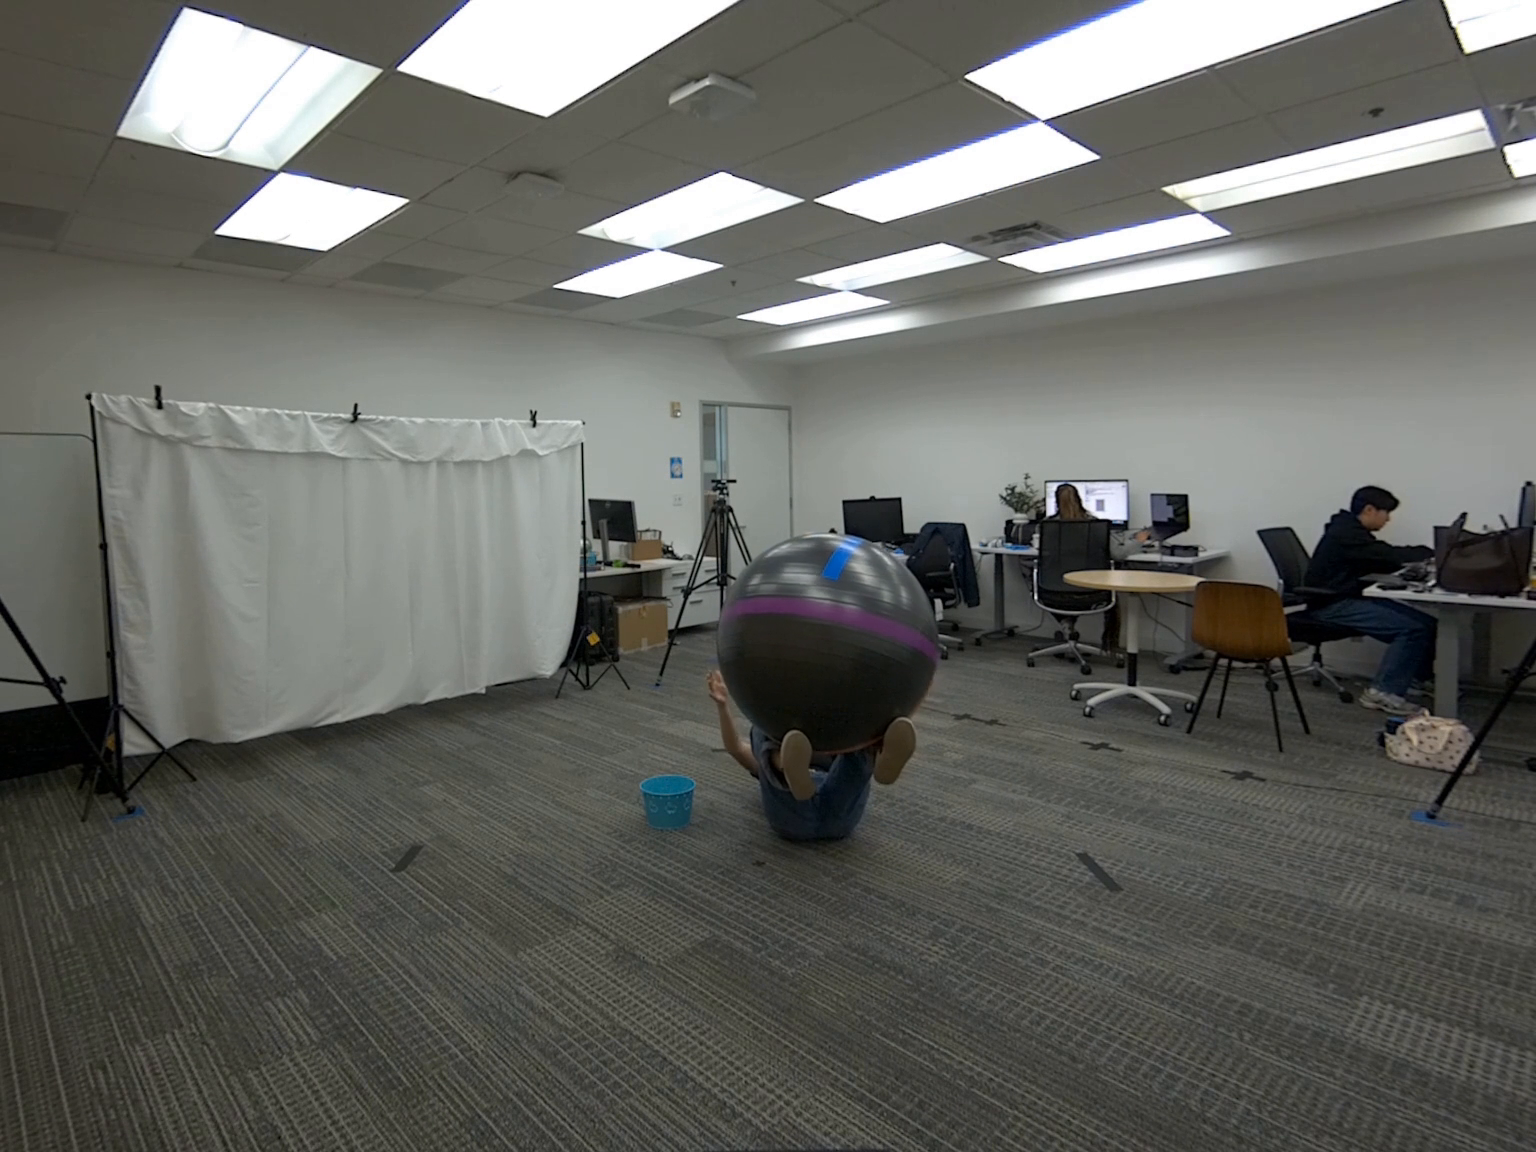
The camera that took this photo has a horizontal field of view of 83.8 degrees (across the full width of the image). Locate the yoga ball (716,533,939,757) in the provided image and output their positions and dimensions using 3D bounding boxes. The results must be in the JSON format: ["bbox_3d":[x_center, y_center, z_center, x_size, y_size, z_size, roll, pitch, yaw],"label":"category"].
[{"bbox_3d":[0.202,0.233,2.973,0.757,0.755,0.762,-1,5,-2],"label":"yoga ball"}]
